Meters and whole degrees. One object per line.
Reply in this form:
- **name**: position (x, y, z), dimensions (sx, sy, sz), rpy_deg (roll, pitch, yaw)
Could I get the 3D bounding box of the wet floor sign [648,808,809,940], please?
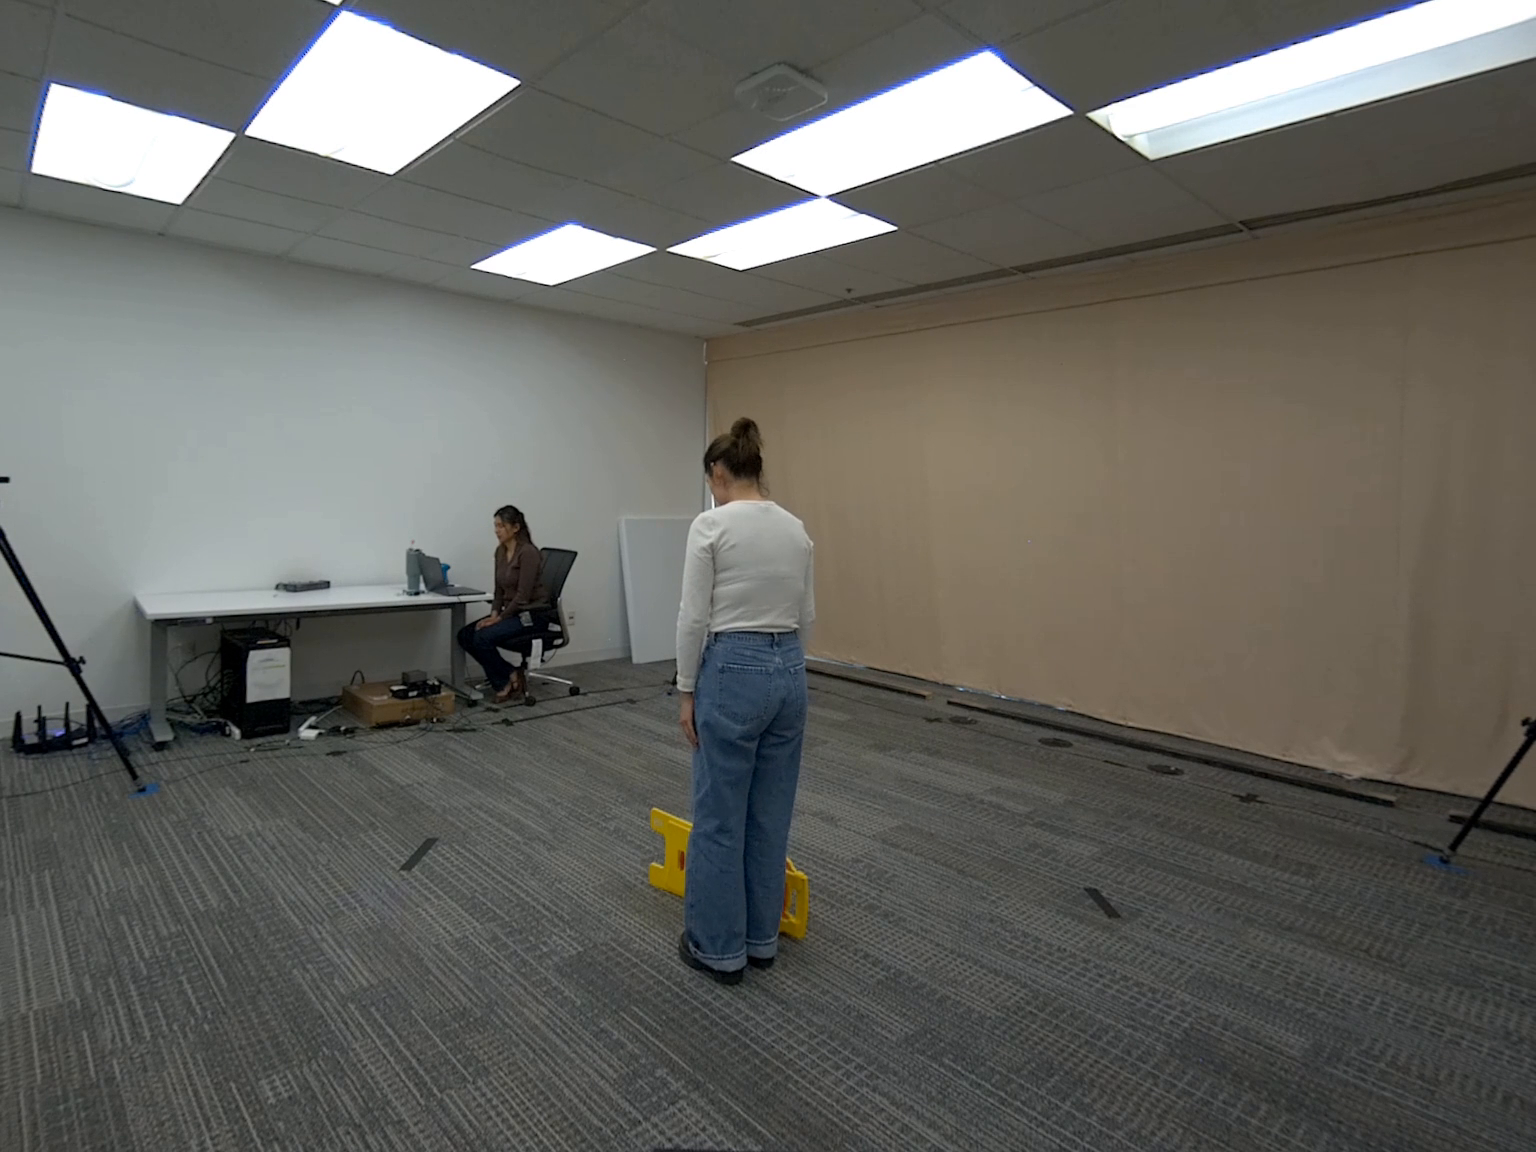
- **wet floor sign**: position (-0.110, 0.999, 2.855), dimensions (0.283, 0.281, 0.663), rpy_deg (-4, 9, -42)
